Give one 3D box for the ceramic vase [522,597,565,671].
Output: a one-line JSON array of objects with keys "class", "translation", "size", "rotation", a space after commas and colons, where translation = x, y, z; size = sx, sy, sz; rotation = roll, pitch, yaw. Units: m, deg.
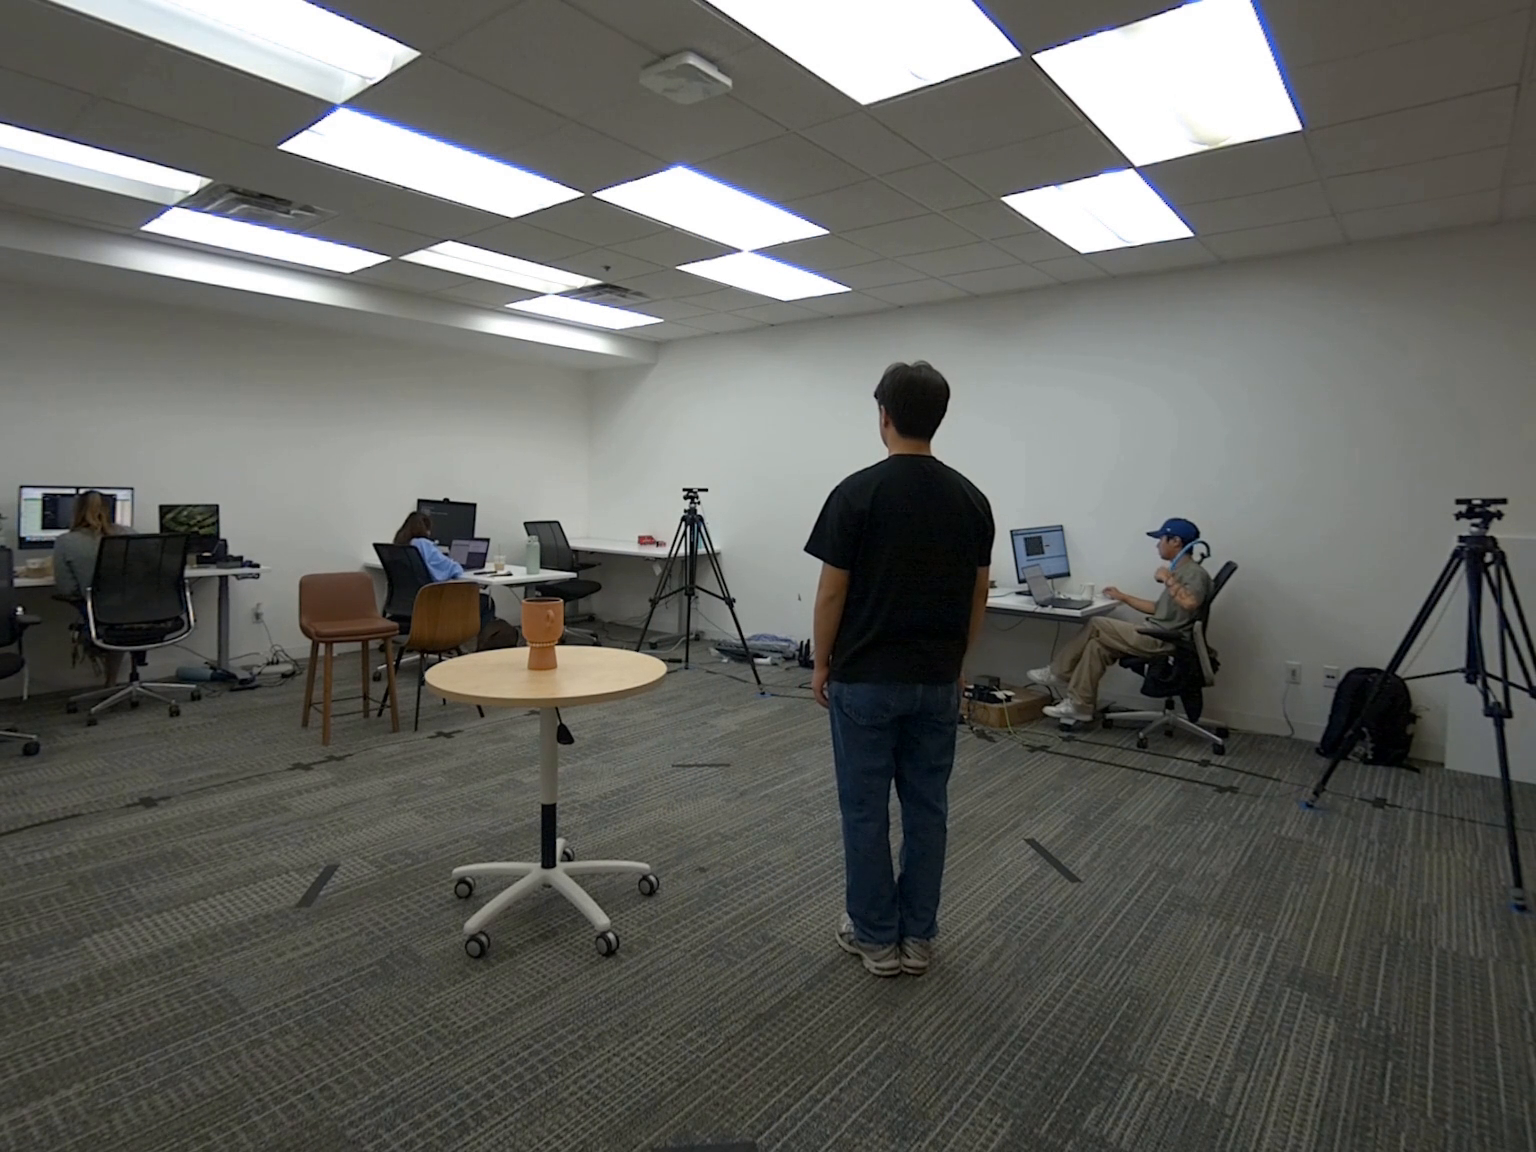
[{"class": "ceramic vase", "translation": [-0.753, 0.190, 2.770], "size": [0.136, 0.219, 0.158], "rotation": [1, 5, 6]}]
